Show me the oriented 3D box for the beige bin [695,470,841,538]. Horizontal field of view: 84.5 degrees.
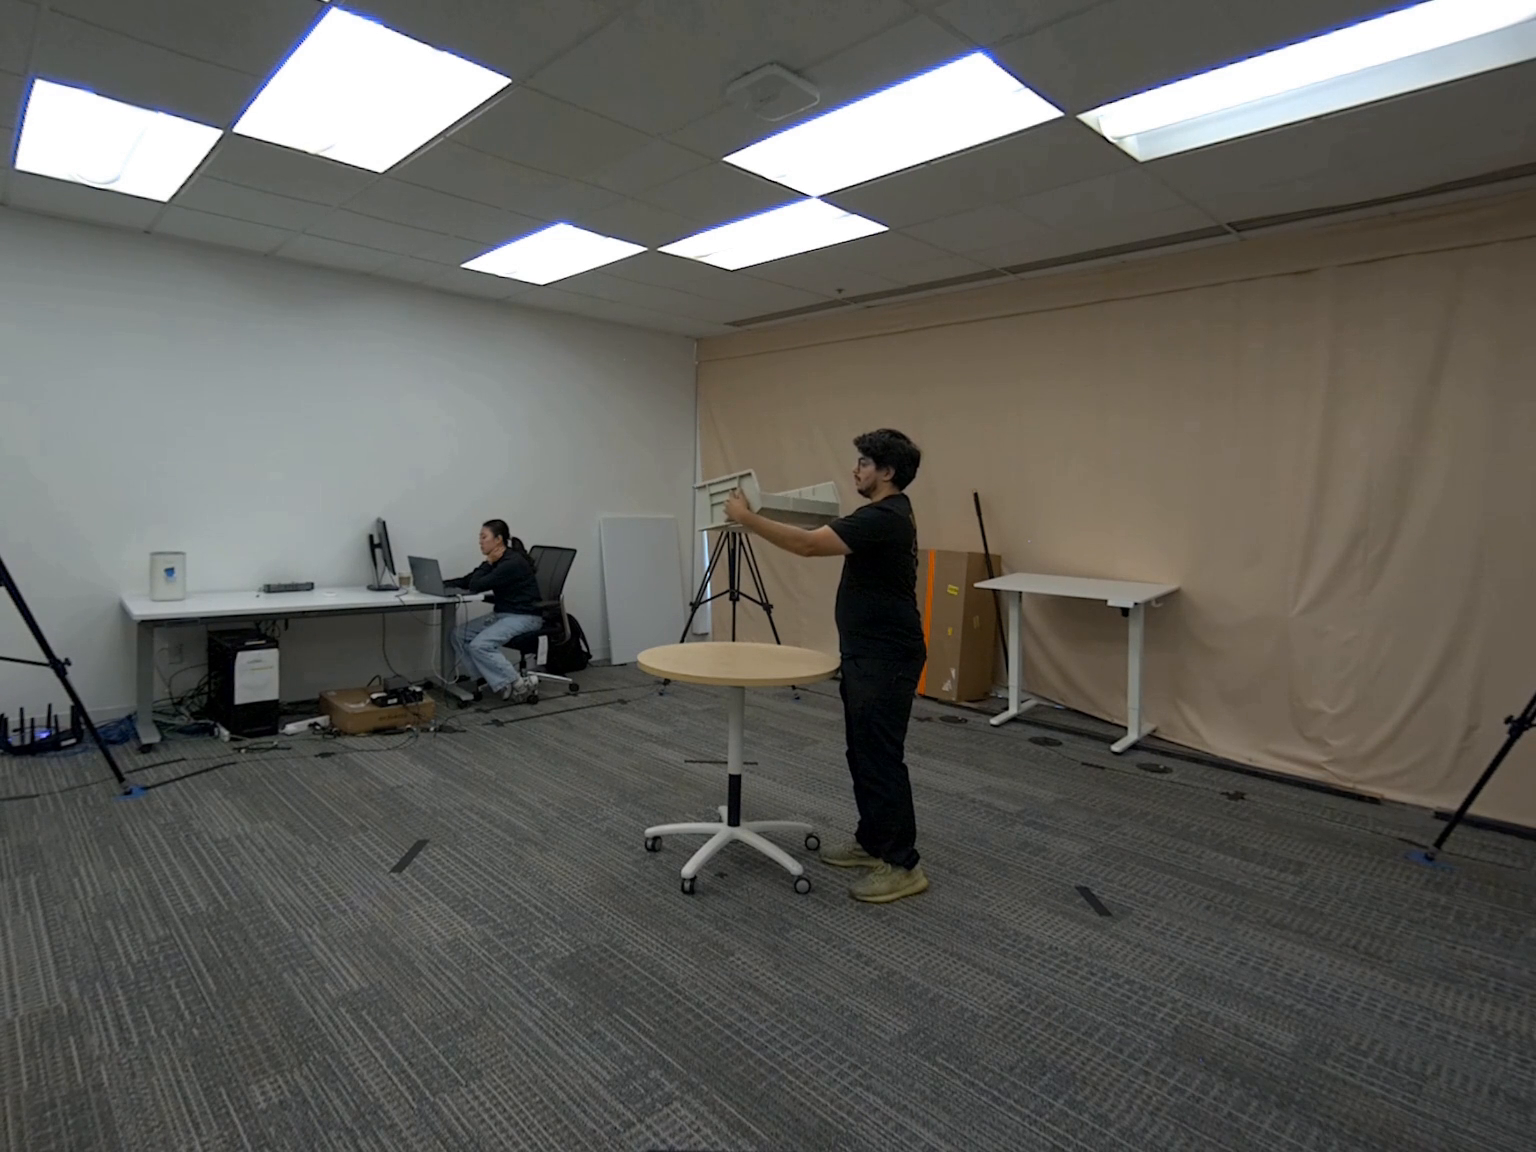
[{"bbox_3d":[-0.011,-0.268,3.213,0.412,0.190,0.384,2,-7,-41],"label":"beige bin"}]
